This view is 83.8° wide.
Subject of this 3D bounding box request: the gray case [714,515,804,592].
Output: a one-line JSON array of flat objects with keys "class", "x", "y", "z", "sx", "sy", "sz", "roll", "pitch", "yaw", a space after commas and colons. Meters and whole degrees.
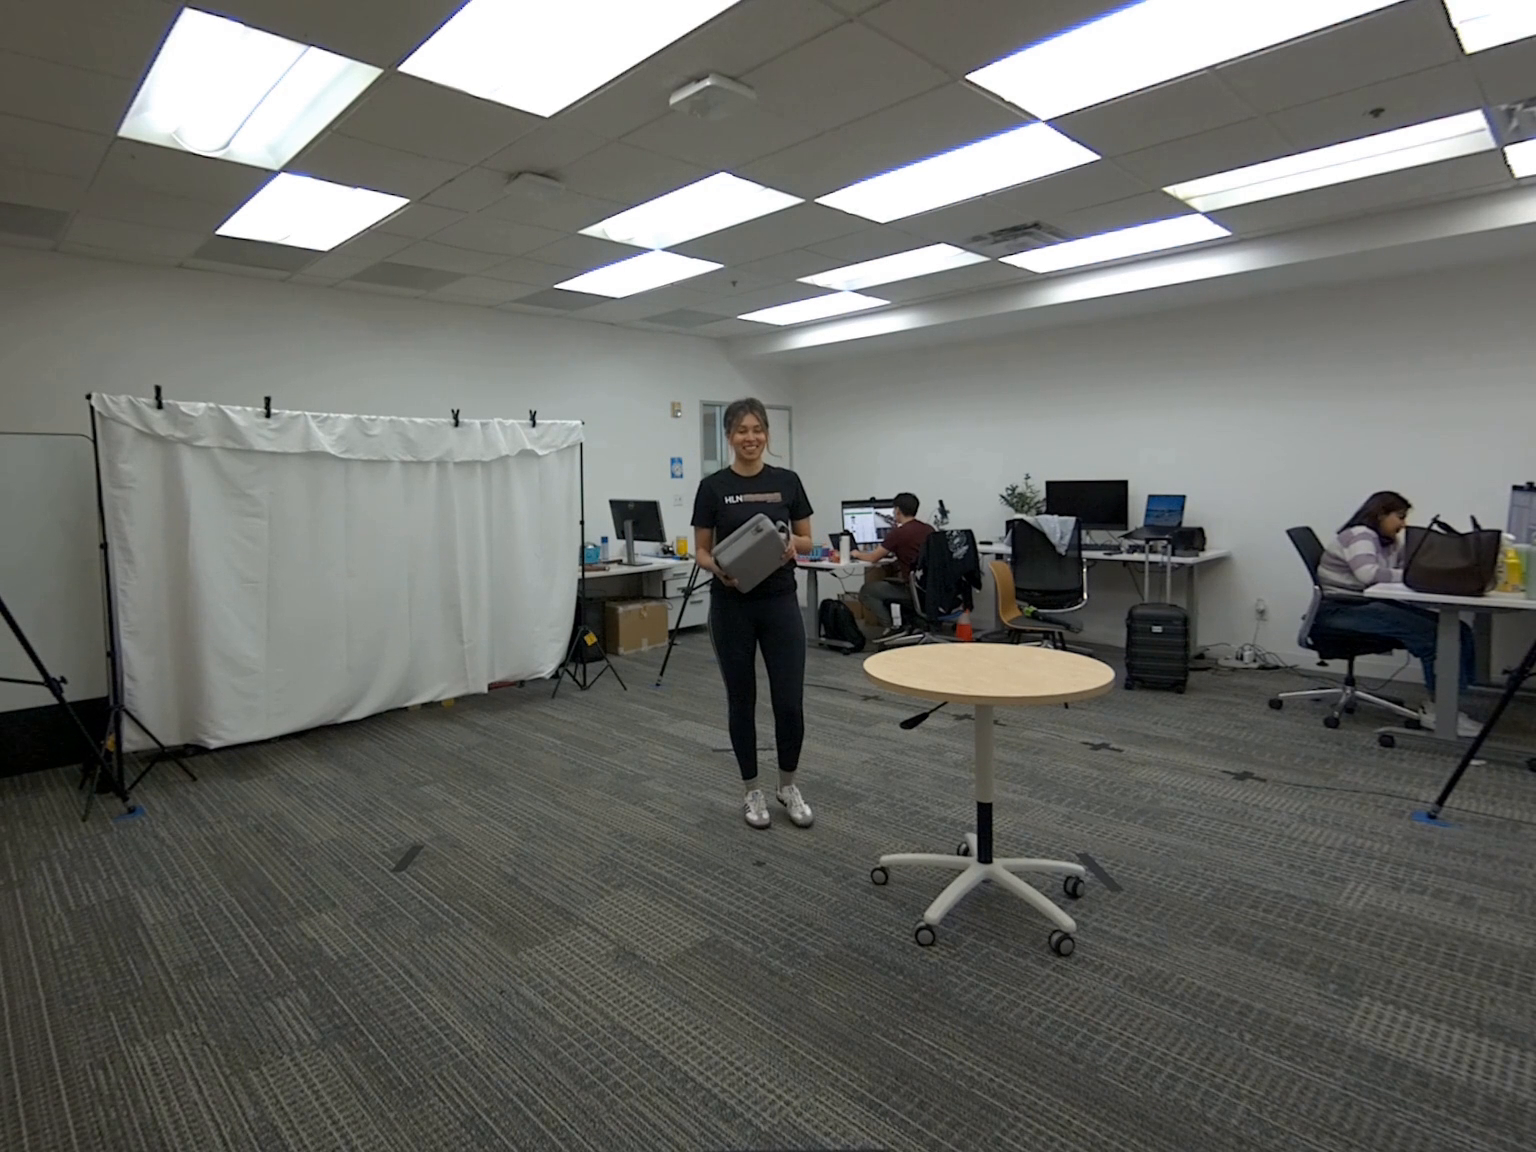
[{"class": "gray case", "x": -0.035, "y": -0.083, "z": 3.209, "sx": 0.260, "sy": 0.108, "sz": 0.247, "roll": -37, "pitch": -33, "yaw": -1}]
